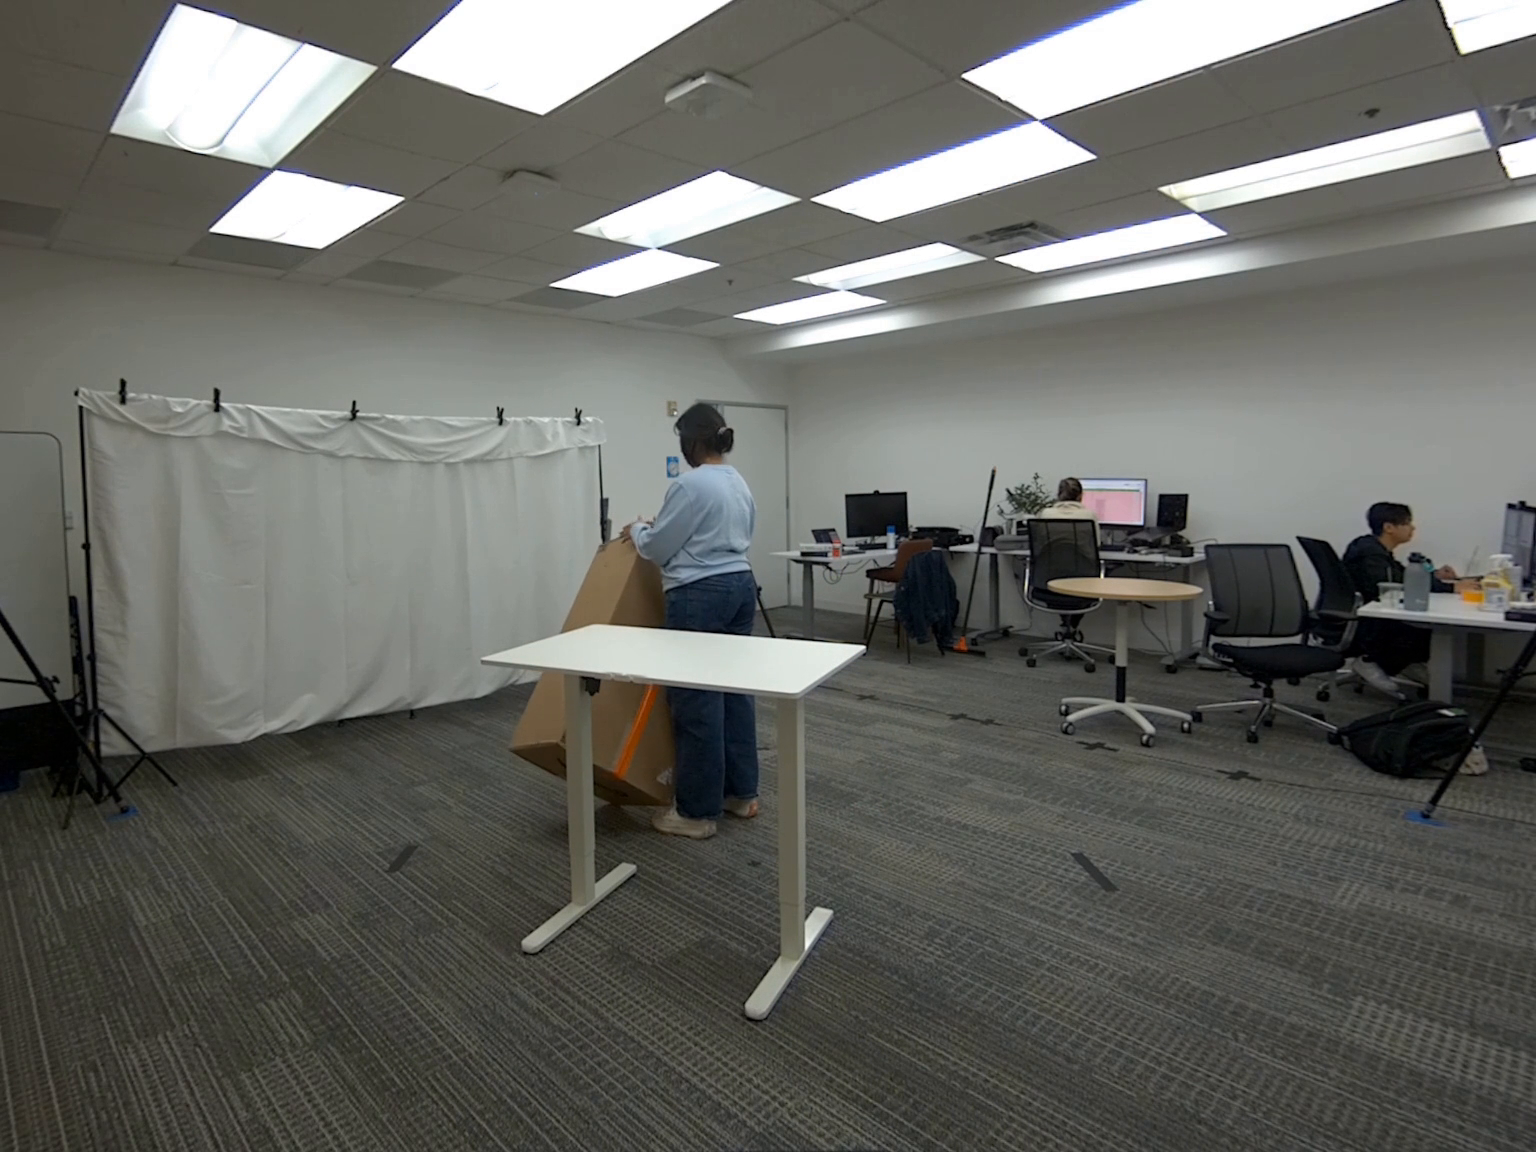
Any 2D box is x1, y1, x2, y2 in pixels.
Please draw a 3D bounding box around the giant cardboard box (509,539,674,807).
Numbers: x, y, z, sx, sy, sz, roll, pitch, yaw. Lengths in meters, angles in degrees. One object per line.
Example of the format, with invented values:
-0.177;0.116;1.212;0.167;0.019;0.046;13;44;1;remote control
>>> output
-0.592;0.392;3.700;0.558;1.040;0.434;38;-36;-30;giant cardboard box
